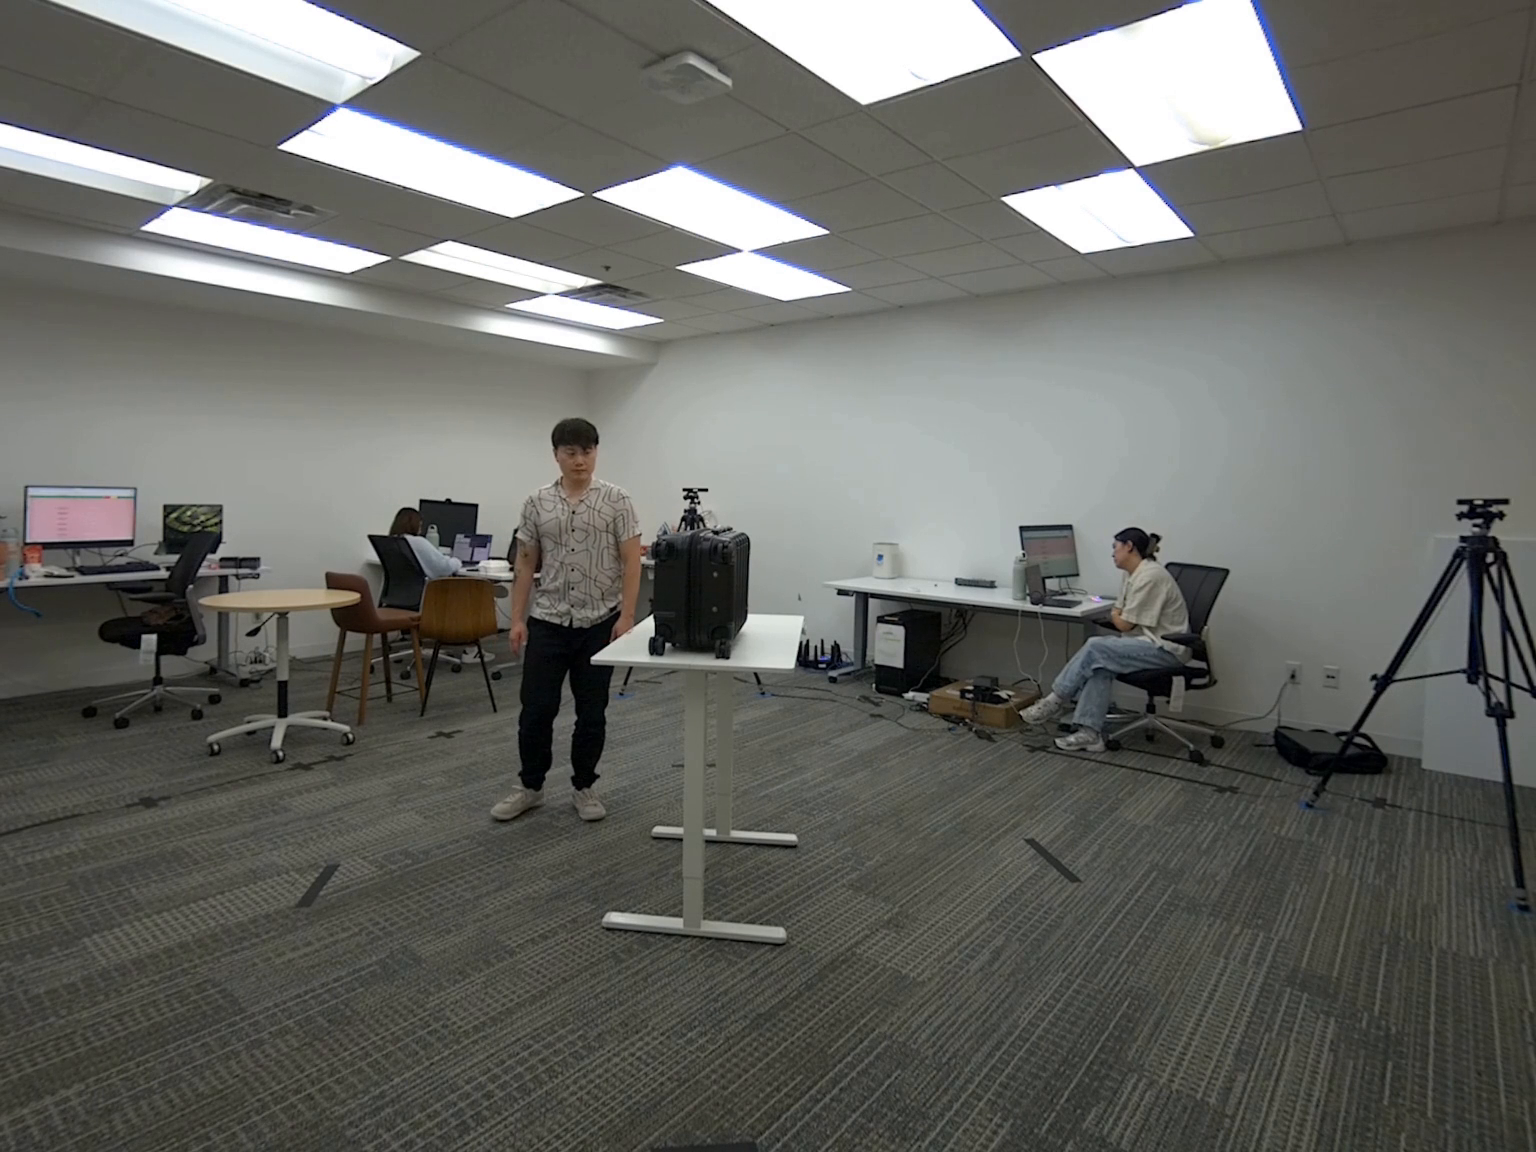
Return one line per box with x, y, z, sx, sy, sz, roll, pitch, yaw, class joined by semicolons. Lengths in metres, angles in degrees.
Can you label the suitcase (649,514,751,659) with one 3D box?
-0.217;0.024;2.812;0.250;0.374;0.548;1;6;6;suitcase
